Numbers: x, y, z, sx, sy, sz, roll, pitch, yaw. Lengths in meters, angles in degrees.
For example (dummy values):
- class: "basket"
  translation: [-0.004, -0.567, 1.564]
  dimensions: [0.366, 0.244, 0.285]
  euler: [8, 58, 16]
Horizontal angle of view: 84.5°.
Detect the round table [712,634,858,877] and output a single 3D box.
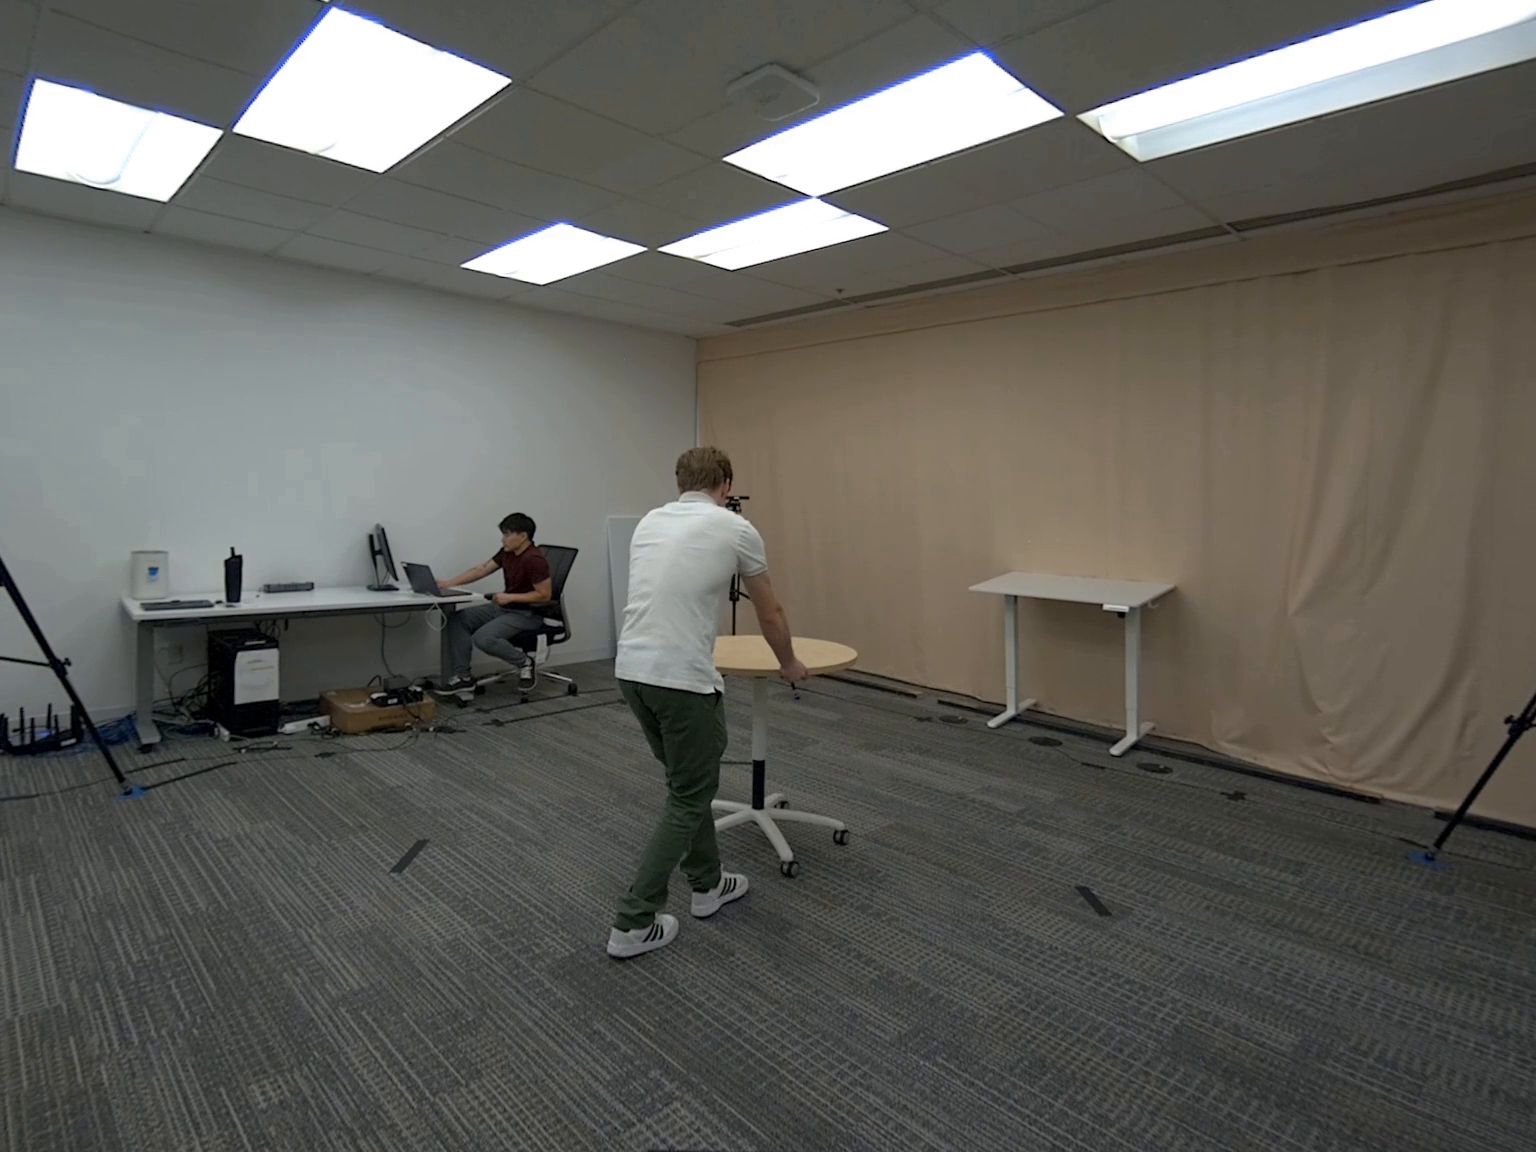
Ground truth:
- class: "round table"
  translation: [-0.040, 0.688, 3.378]
  dimensions: [0.784, 0.785, 0.787]
  euler: [1, 3, -1]
